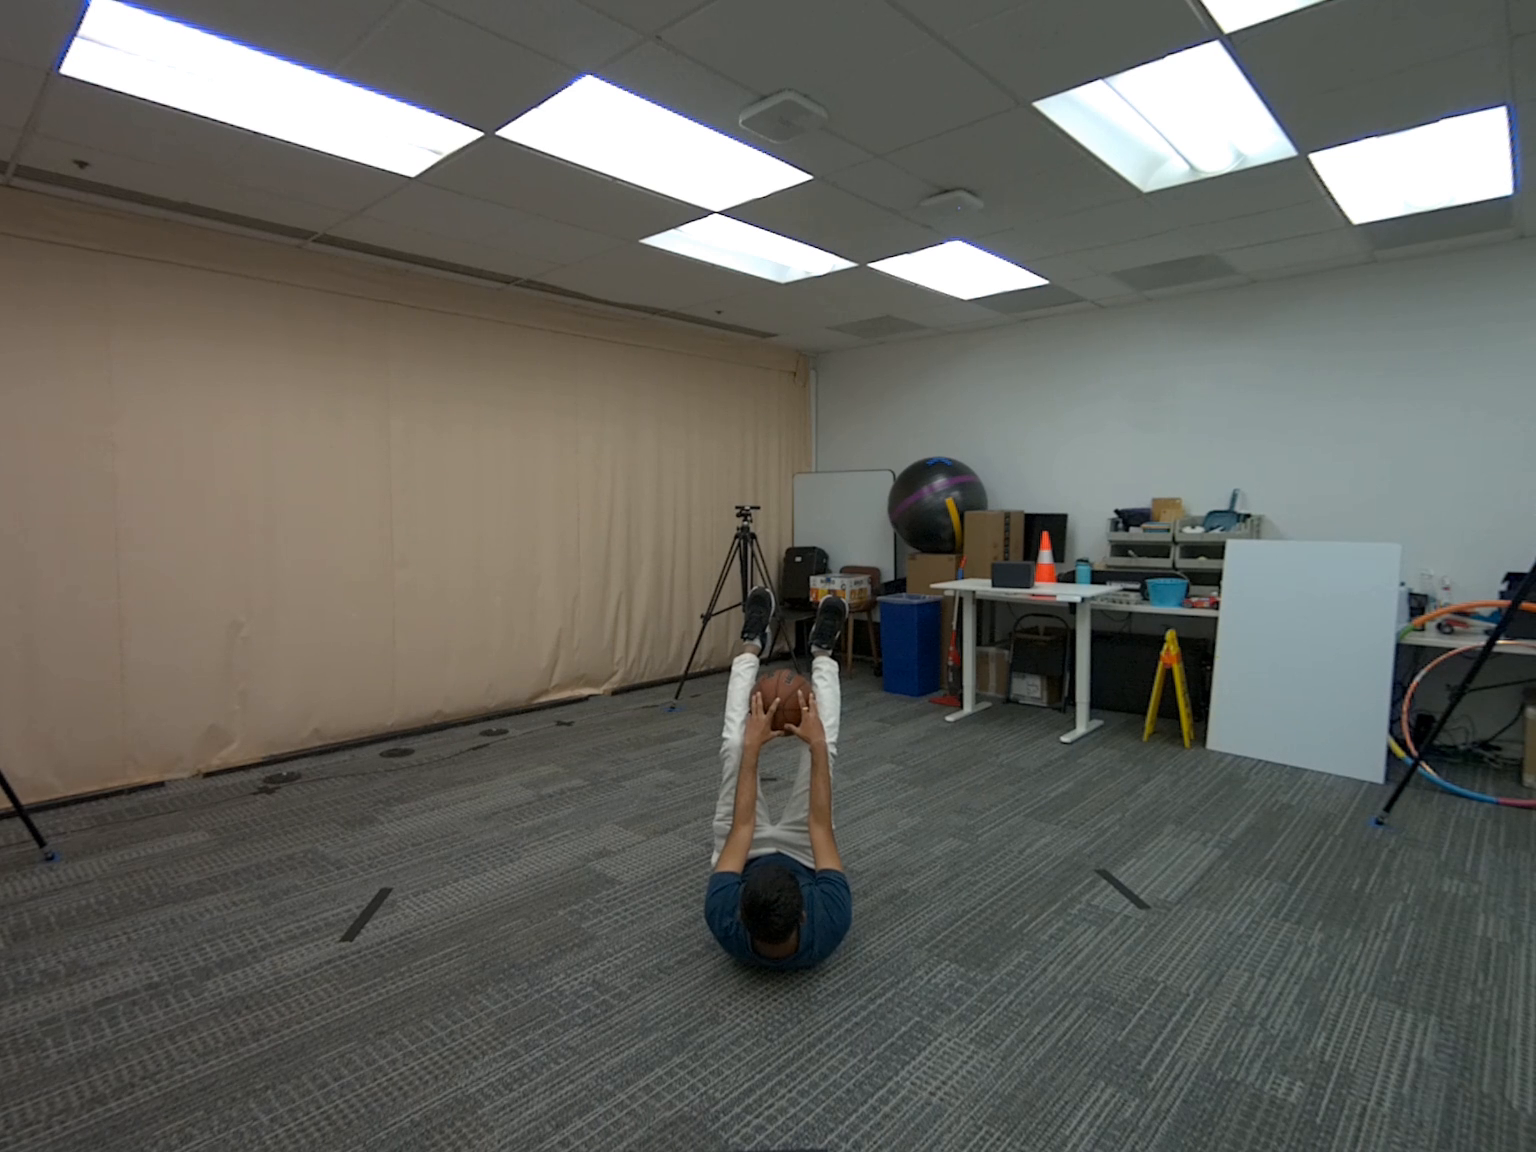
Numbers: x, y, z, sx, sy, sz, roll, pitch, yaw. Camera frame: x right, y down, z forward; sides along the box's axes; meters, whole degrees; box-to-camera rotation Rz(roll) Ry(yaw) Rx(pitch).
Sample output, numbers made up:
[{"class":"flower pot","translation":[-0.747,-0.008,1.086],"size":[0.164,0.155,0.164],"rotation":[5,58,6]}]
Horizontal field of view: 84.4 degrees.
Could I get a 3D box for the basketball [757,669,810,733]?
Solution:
[{"class":"basketball","translation":[0.059,0.456,3.022],"size":[0.236,0.235,0.237],"rotation":[0,4,-2]}]
